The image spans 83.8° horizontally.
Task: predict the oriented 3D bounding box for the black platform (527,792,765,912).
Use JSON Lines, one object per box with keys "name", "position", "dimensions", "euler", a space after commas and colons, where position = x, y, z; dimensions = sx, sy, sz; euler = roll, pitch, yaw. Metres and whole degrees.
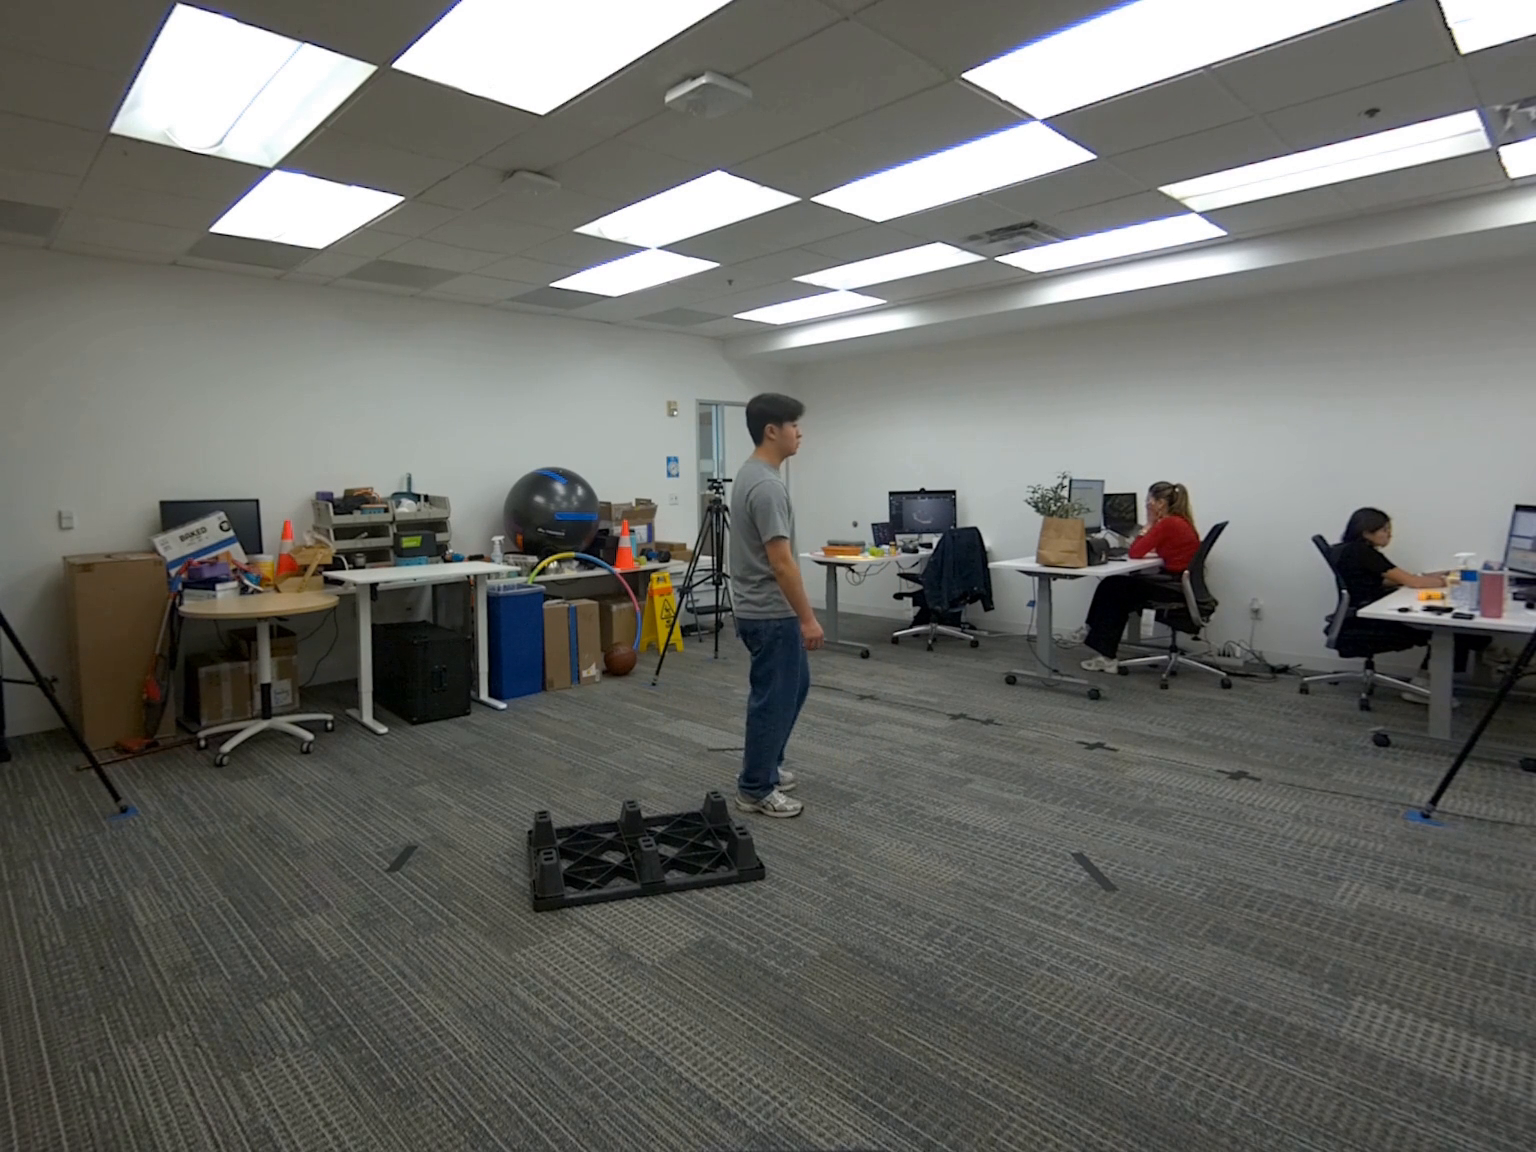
{"name": "black platform", "position": [-0.472, 0.979, 3.155], "dimensions": [0.794, 0.143, 0.617], "euler": [-3, 6, -16]}
